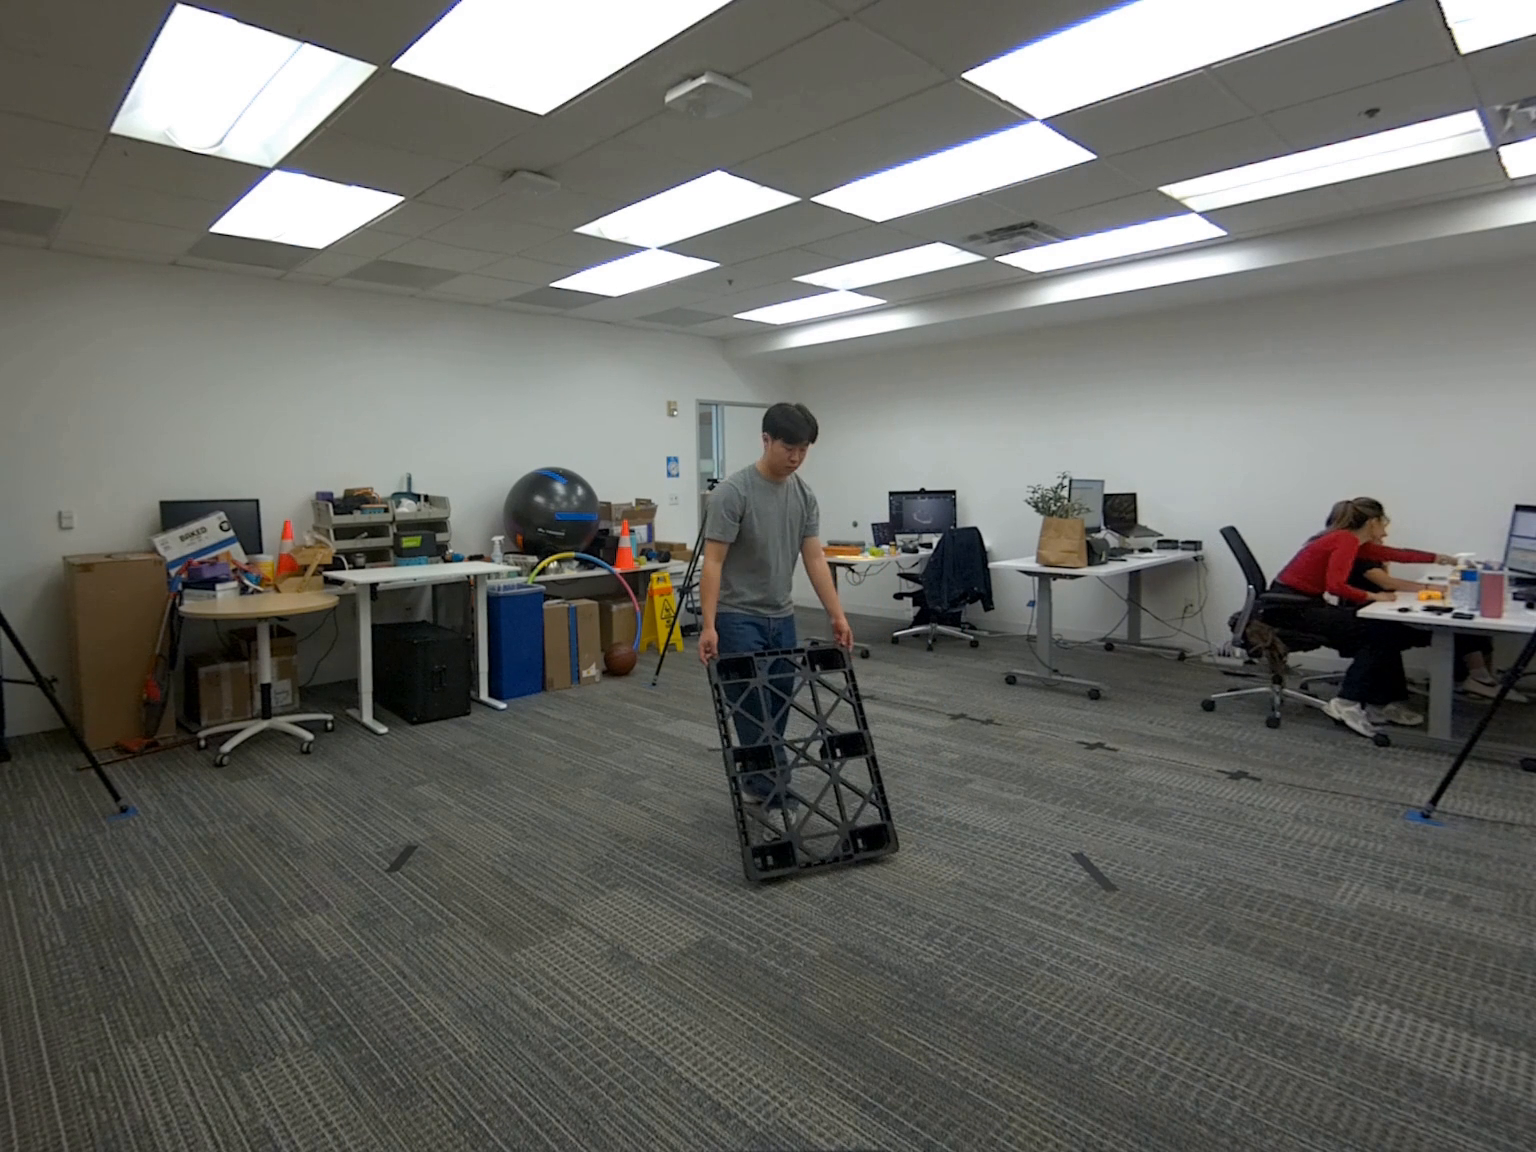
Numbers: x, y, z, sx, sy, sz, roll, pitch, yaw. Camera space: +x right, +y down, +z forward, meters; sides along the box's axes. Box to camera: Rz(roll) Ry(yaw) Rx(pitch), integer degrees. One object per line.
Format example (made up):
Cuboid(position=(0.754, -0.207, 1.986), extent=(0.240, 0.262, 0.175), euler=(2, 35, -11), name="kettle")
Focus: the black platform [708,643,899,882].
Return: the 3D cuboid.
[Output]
Cuboid(position=(0.106, 0.681, 3.206), extent=(0.594, 0.825, 0.142), euler=(-3, -25, -20), name="black platform")
